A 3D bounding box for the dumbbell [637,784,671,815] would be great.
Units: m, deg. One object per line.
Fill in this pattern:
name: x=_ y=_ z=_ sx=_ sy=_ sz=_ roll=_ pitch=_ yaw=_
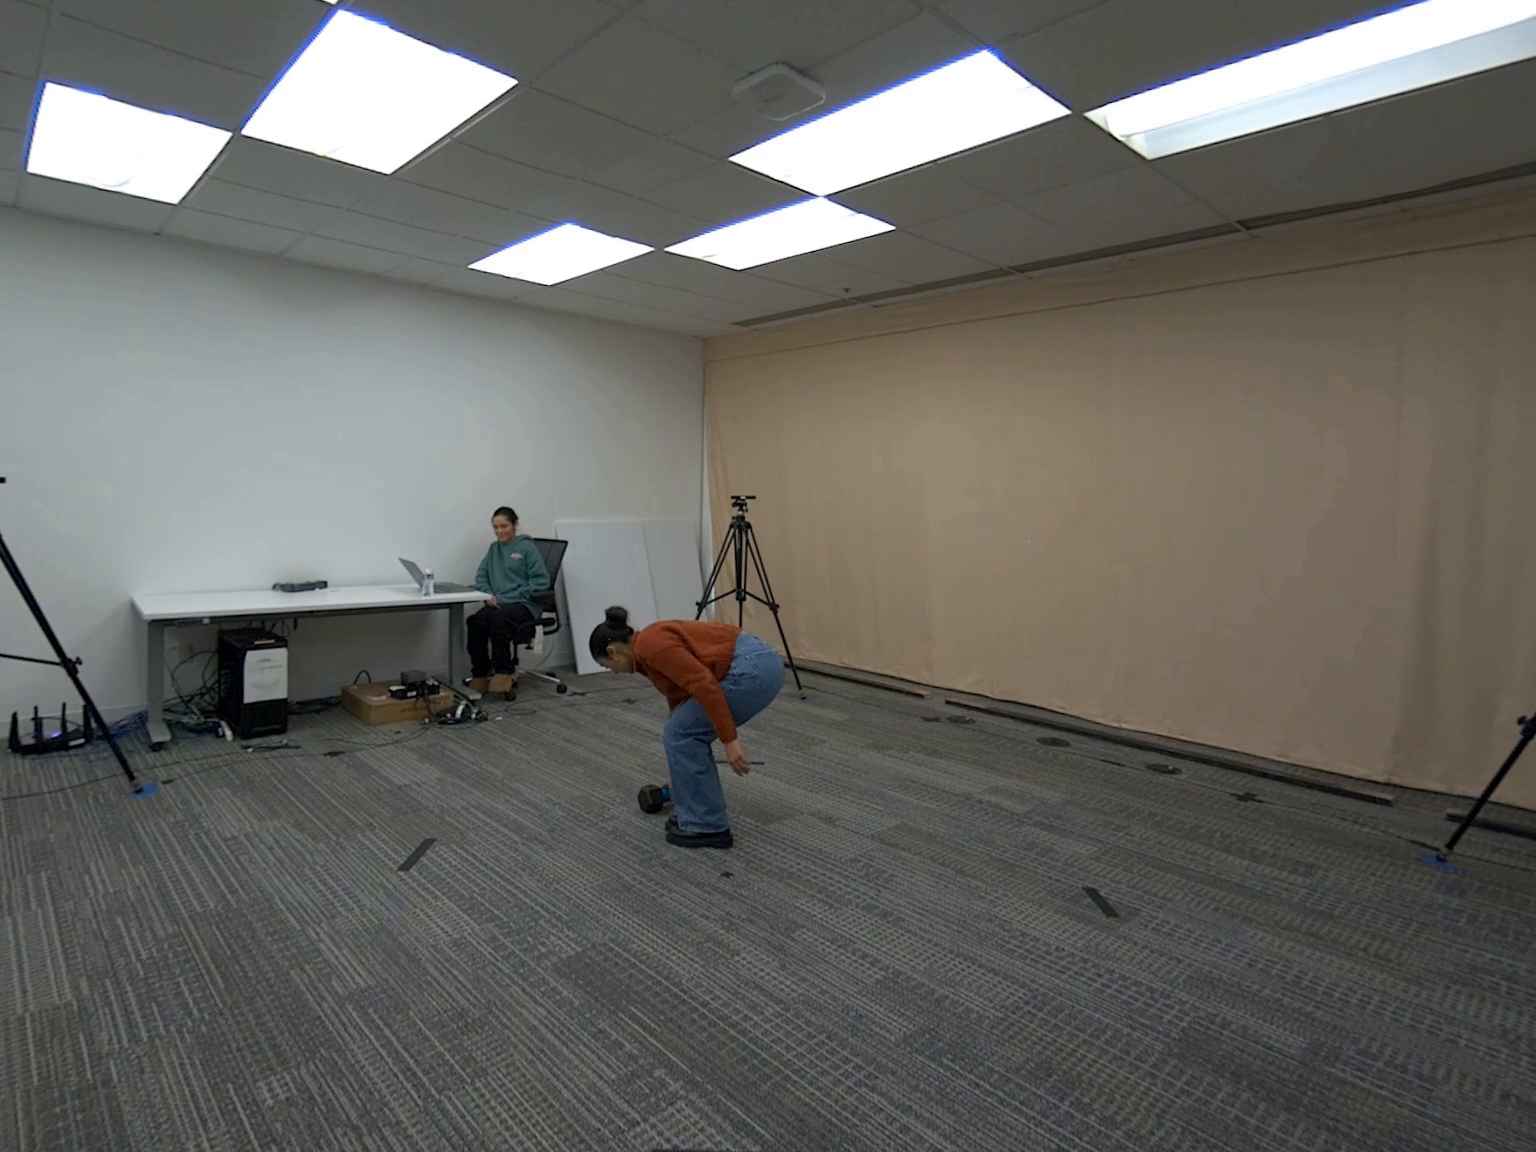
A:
dumbbell: x=-0.444 y=0.983 z=3.782 sx=0.287 sy=0.122 sz=0.112 roll=-2 pitch=36 yaw=-37
